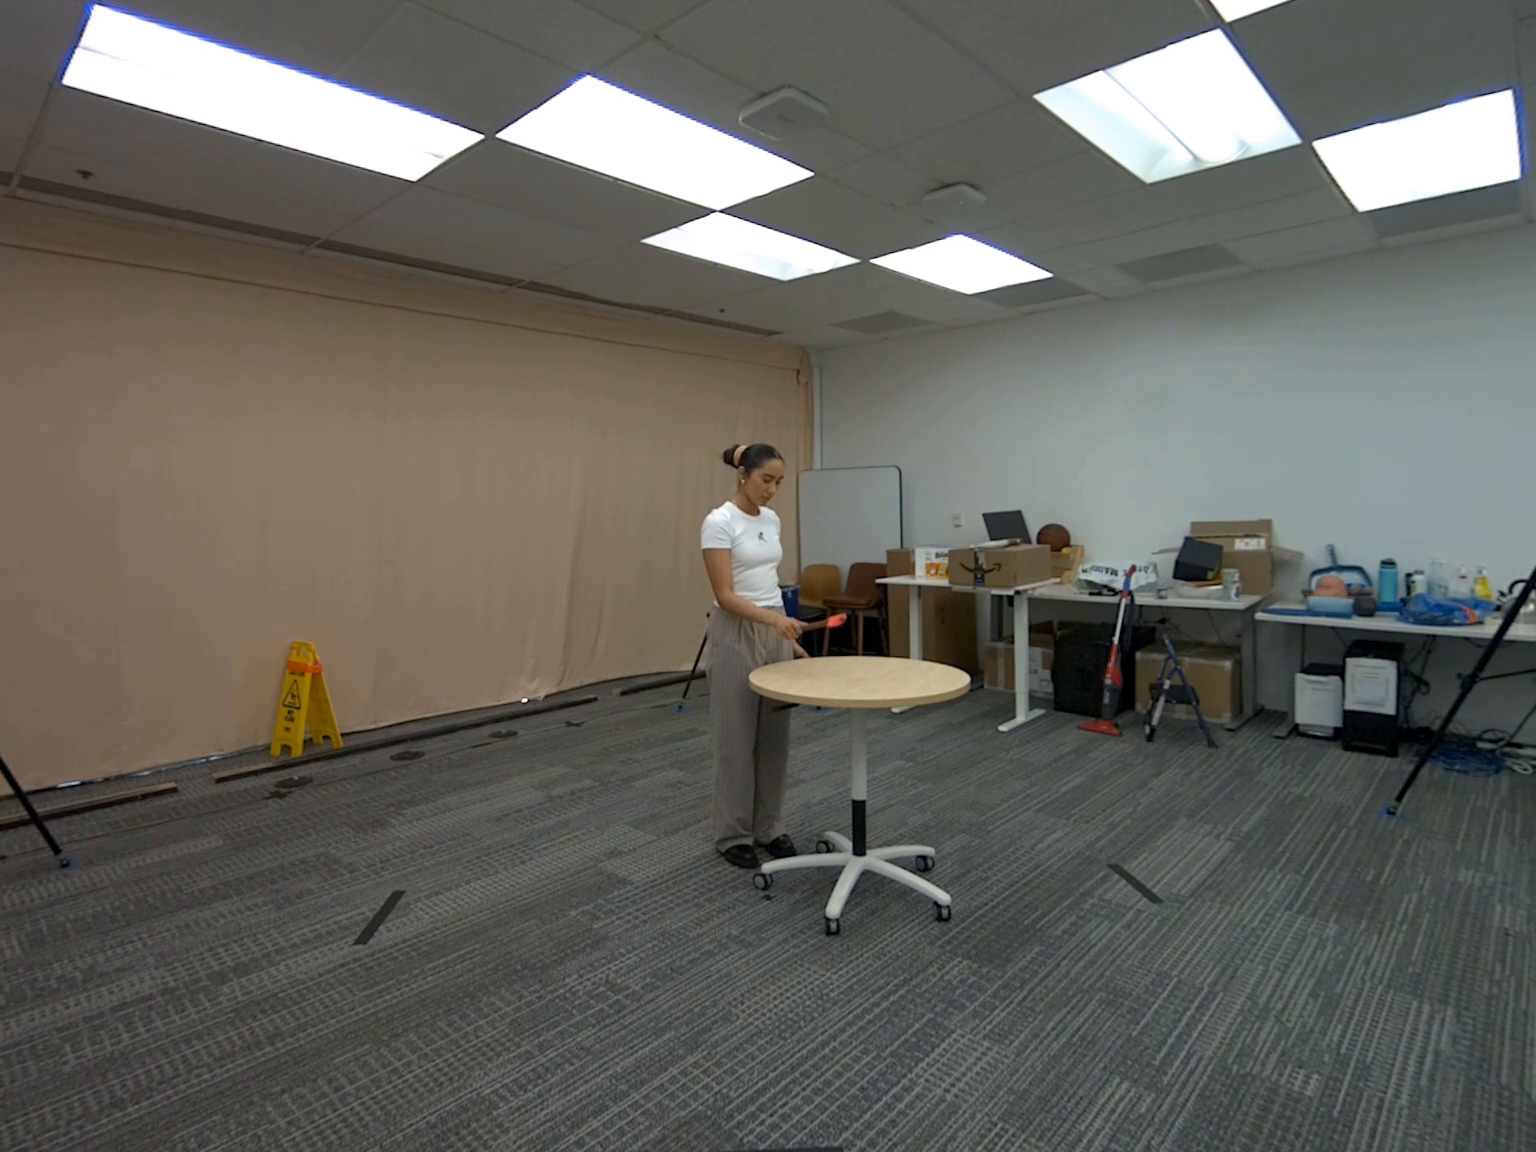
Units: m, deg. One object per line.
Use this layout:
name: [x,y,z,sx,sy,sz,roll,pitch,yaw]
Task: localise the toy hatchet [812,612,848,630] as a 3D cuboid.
toy hatchet: [0.172,0.156,2.970,0.128,0.029,0.277,-21,9,-34]
